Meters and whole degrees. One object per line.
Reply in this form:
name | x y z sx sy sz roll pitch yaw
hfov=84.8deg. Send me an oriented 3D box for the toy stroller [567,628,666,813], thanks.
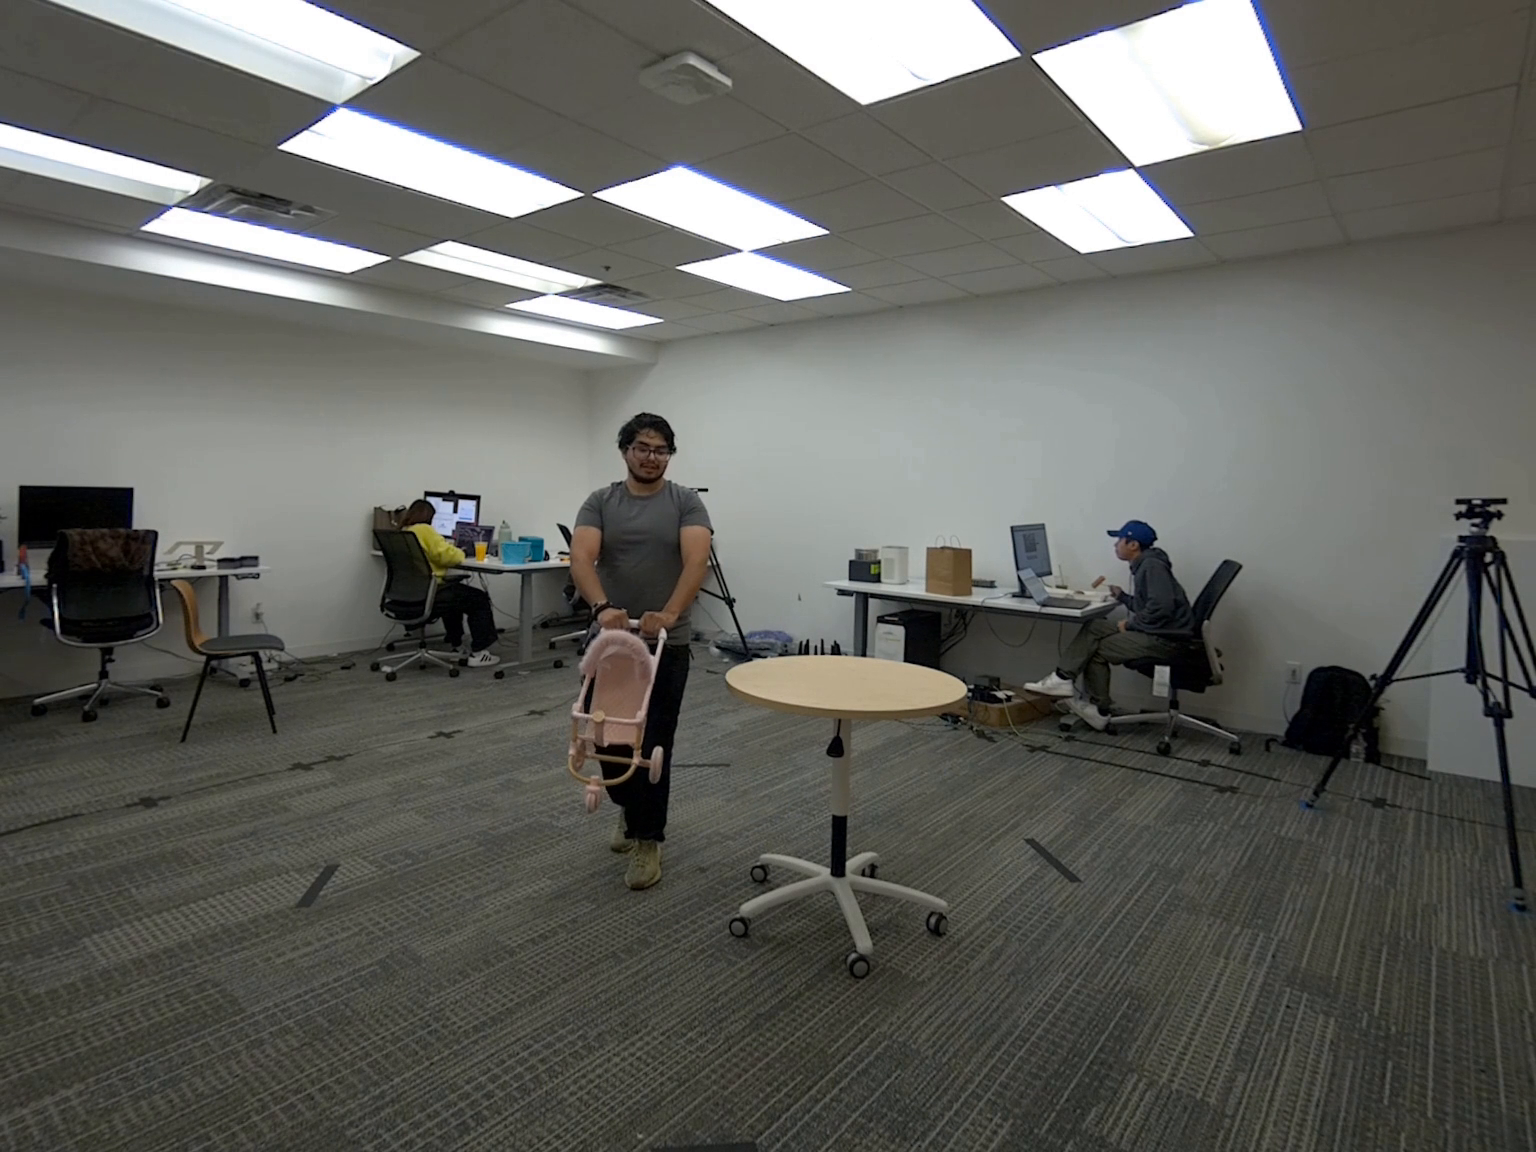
toy stroller | -0.468 0.393 2.500 0.285 0.537 0.335 6 -5 10
